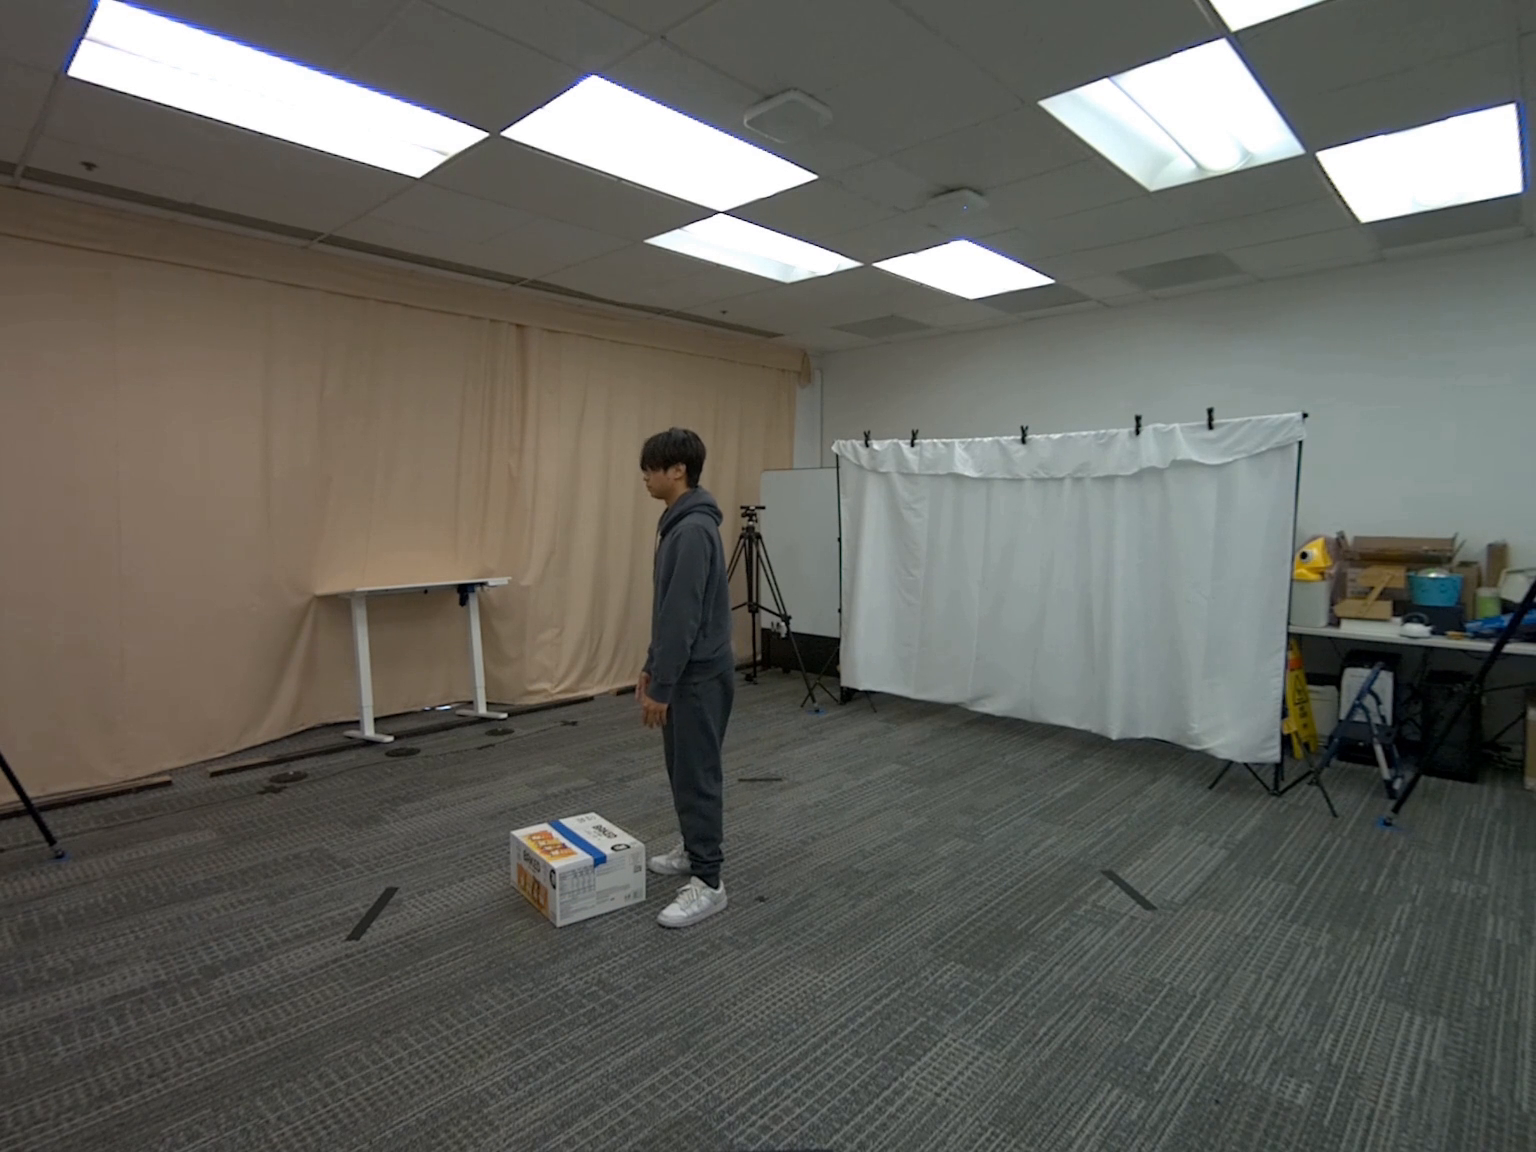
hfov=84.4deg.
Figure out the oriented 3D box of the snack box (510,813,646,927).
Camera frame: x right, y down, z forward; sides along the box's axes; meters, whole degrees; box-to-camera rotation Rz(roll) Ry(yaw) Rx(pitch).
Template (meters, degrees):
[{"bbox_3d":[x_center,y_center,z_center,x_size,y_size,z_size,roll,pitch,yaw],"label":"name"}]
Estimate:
[{"bbox_3d":[-0.690,1.041,3.032,0.330,0.205,0.418,-3,5,-37],"label":"snack box"}]
